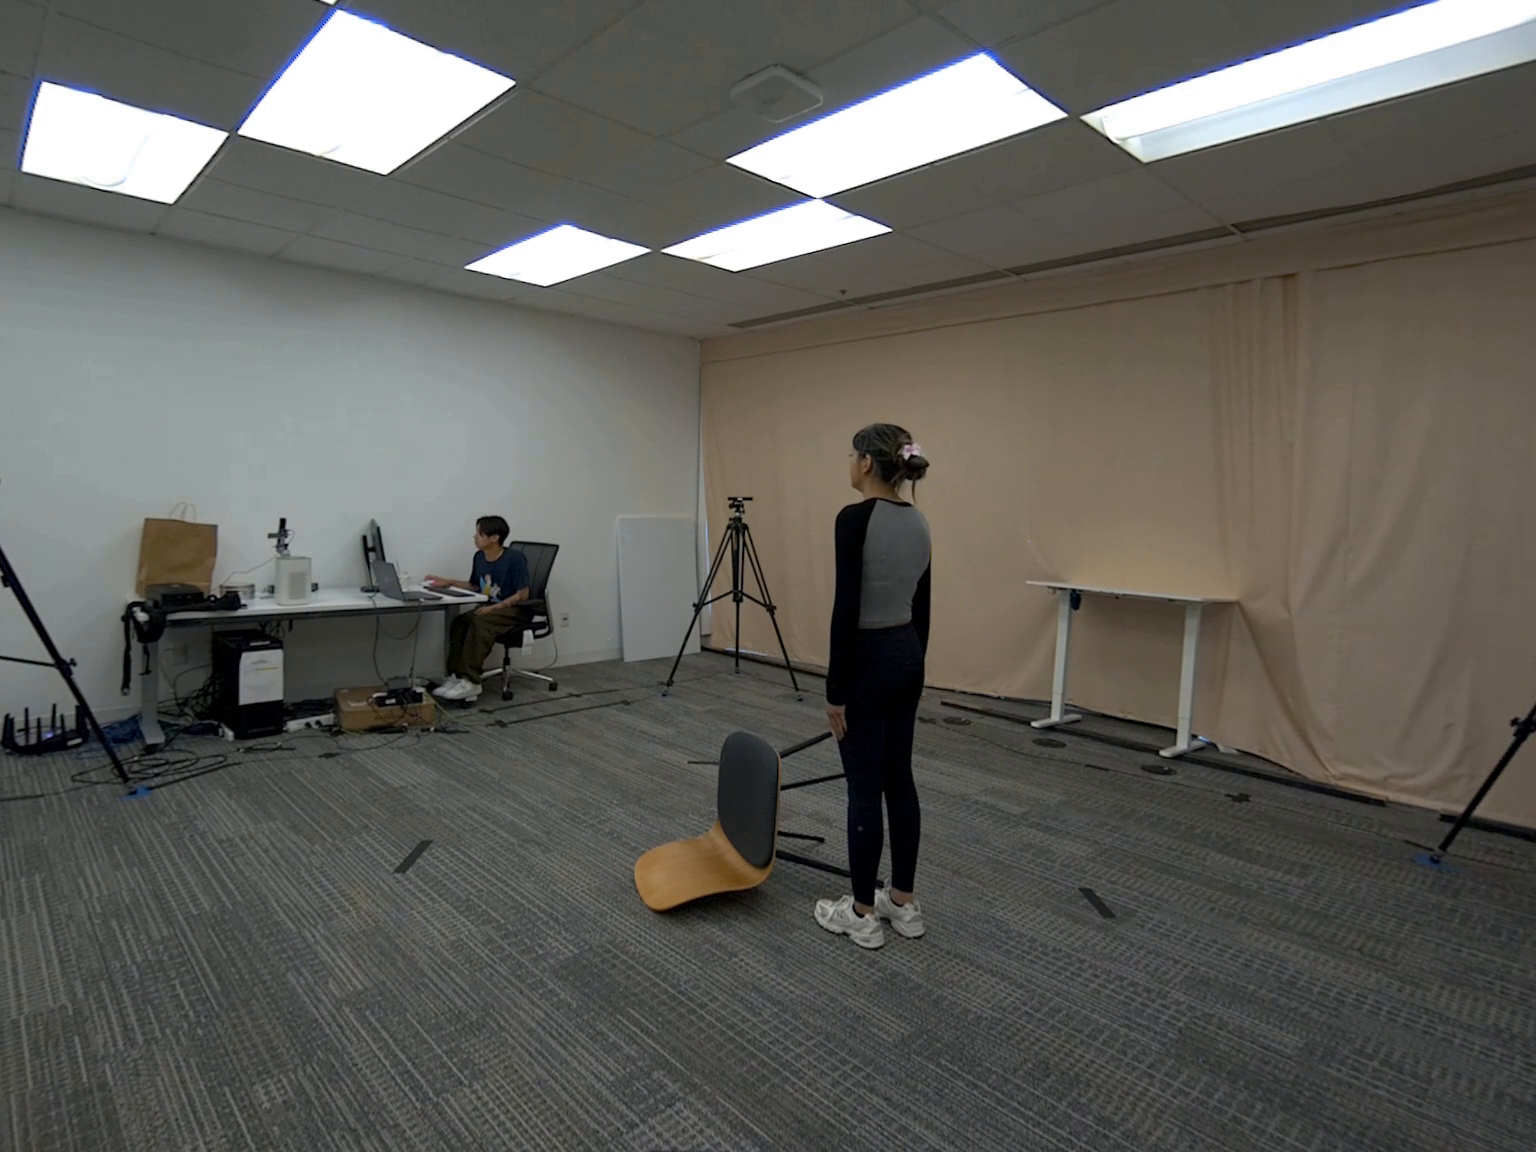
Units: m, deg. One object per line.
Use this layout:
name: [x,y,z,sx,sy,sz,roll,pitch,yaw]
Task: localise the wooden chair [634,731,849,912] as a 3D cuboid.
wooden chair: [-0.041,0.851,3.062,0.862,0.522,0.488,-2,5,-25]
